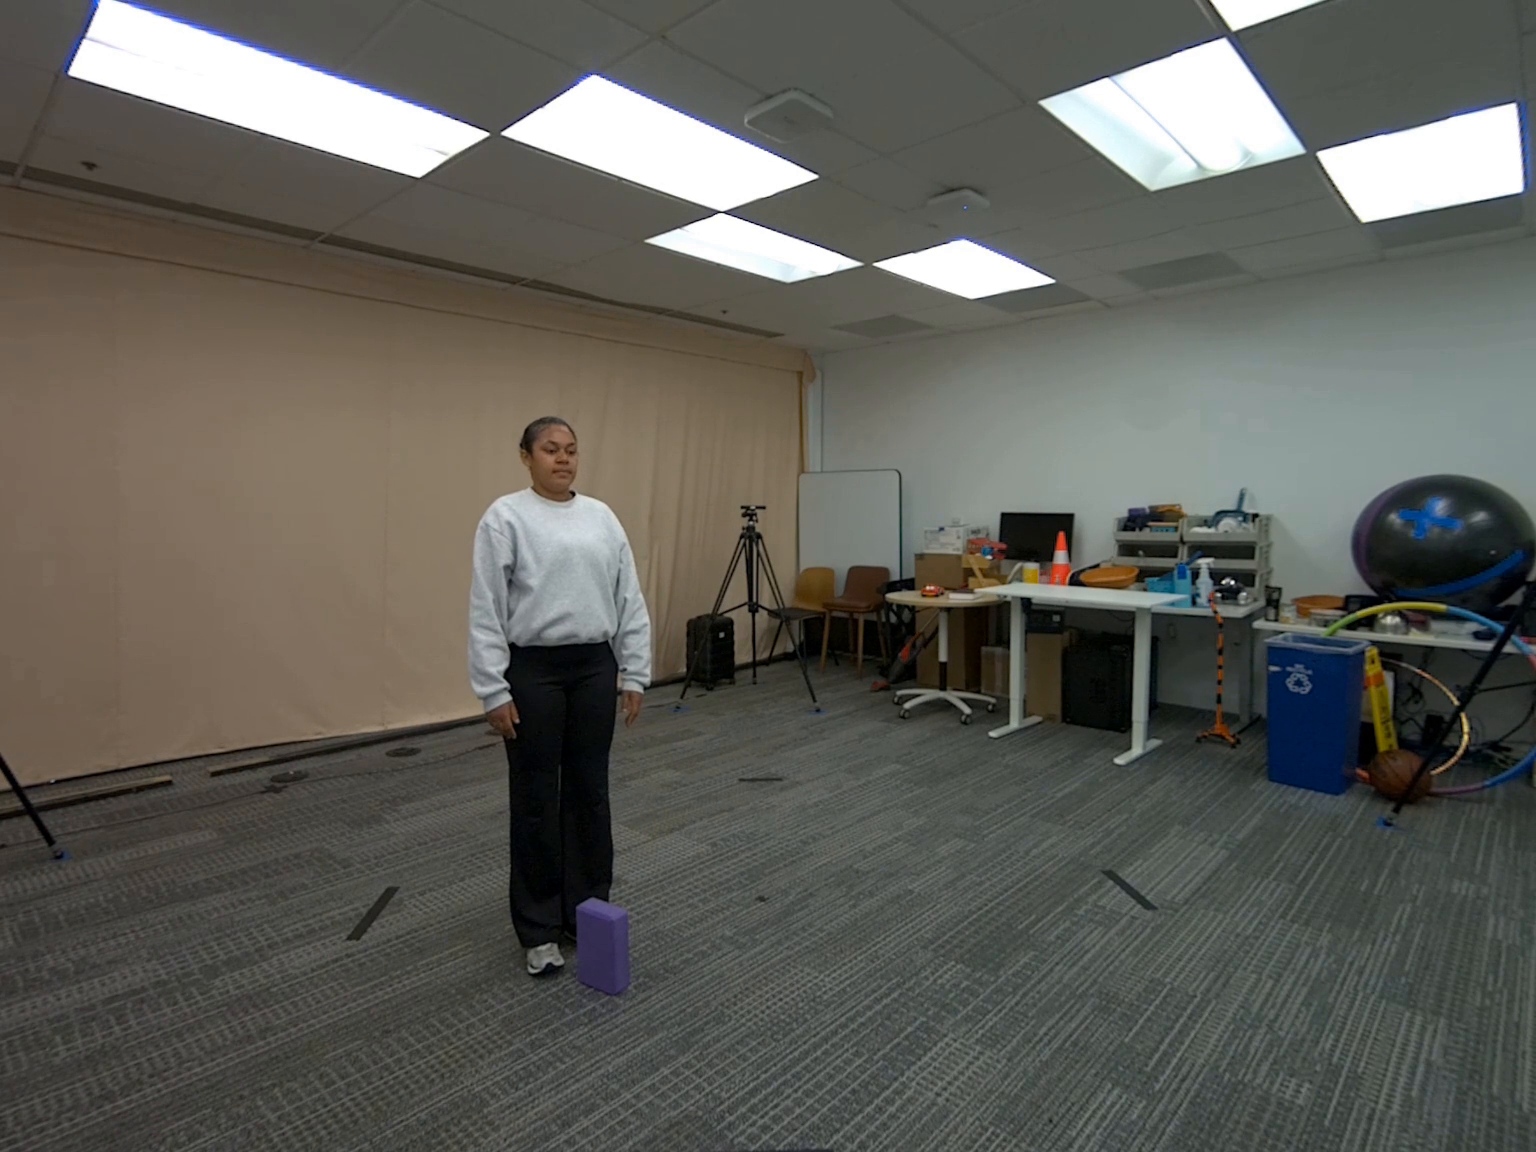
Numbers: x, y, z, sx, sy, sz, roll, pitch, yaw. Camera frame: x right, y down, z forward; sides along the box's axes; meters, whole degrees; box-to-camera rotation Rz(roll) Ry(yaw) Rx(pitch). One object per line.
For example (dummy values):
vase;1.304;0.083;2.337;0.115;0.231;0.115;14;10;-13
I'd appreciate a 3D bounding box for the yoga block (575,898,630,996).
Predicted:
yoga block;-0.478;1.076;2.442;0.153;0.229;0.074;2;2;31
